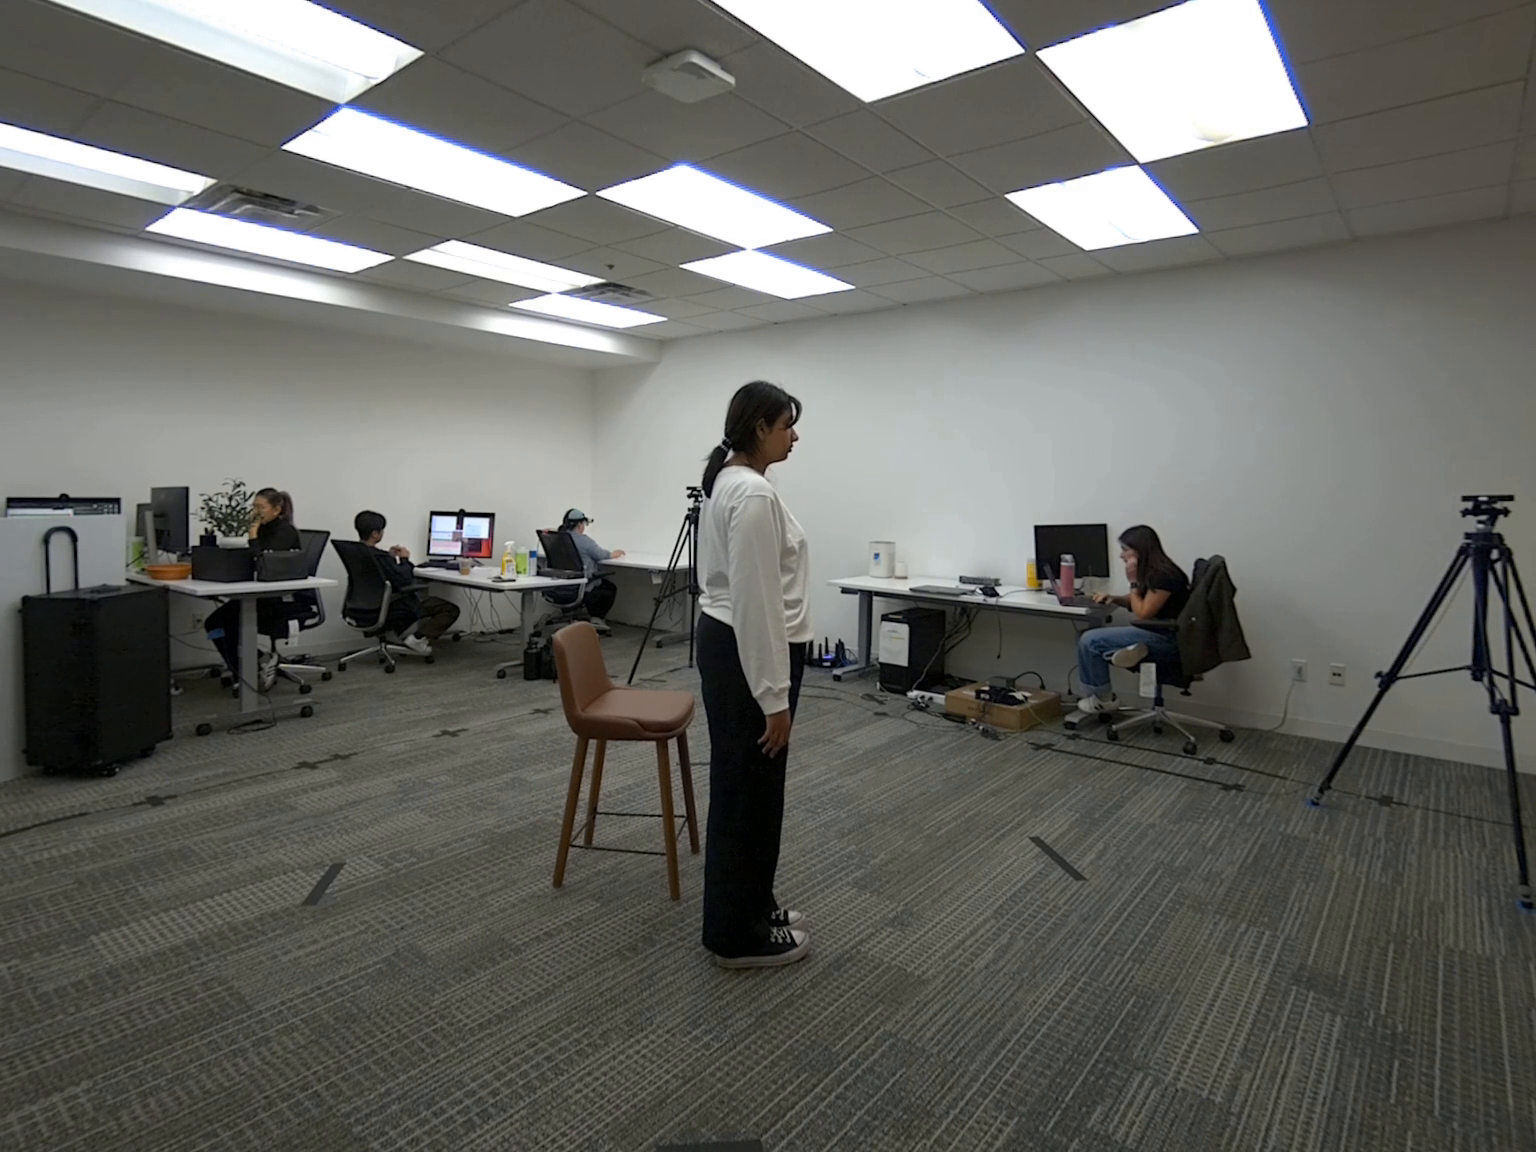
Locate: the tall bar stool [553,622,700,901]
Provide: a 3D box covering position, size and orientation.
[{"bbox_3d":[-0.508,0.631,3.068,0.472,0.888,0.453,0,3,9],"label":"tall bar stool"}]
